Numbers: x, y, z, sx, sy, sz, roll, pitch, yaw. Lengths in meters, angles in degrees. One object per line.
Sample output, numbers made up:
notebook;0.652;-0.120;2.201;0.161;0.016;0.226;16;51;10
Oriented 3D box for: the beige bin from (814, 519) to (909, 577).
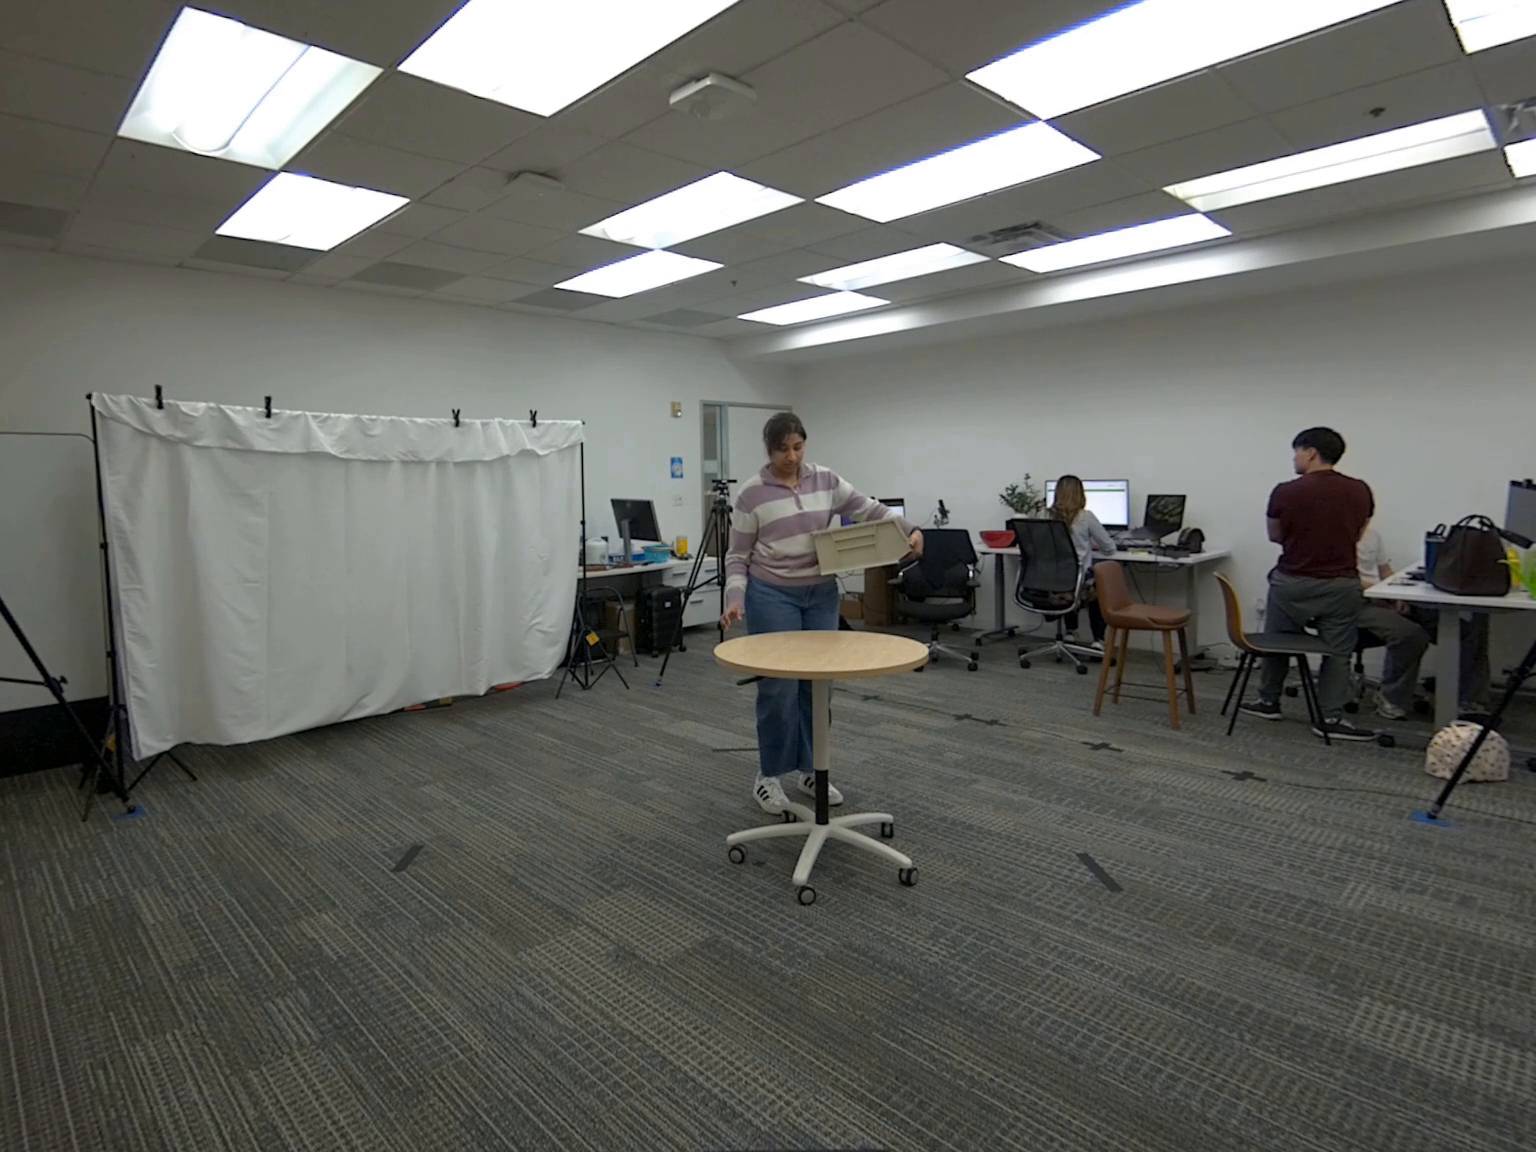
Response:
beige bin;0.415;-0.118;3.598;0.382;0.189;0.416;-10;-1;17
